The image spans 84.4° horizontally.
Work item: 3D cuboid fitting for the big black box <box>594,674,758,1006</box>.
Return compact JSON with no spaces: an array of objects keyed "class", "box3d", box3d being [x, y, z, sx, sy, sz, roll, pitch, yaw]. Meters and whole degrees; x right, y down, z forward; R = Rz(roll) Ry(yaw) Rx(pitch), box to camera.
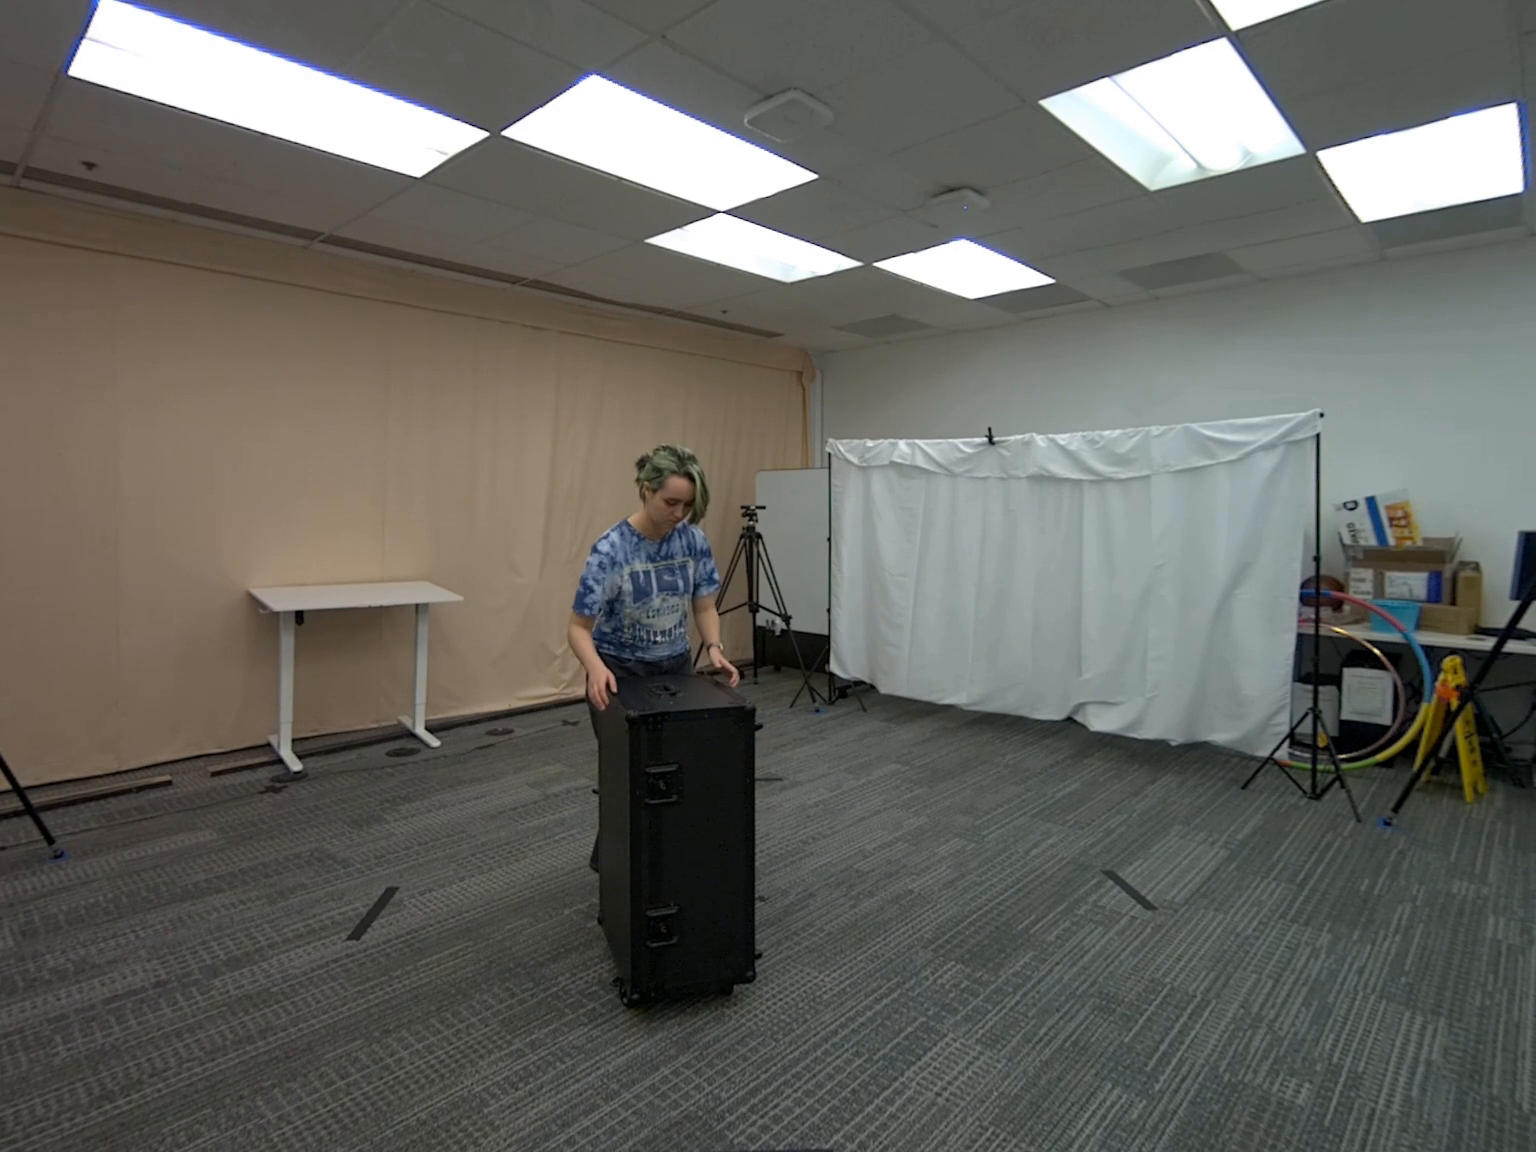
[{"class":"big black box","box3d":[-0.273,0.765,2.498,0.389,0.860,0.532,-1,3,-19]}]
